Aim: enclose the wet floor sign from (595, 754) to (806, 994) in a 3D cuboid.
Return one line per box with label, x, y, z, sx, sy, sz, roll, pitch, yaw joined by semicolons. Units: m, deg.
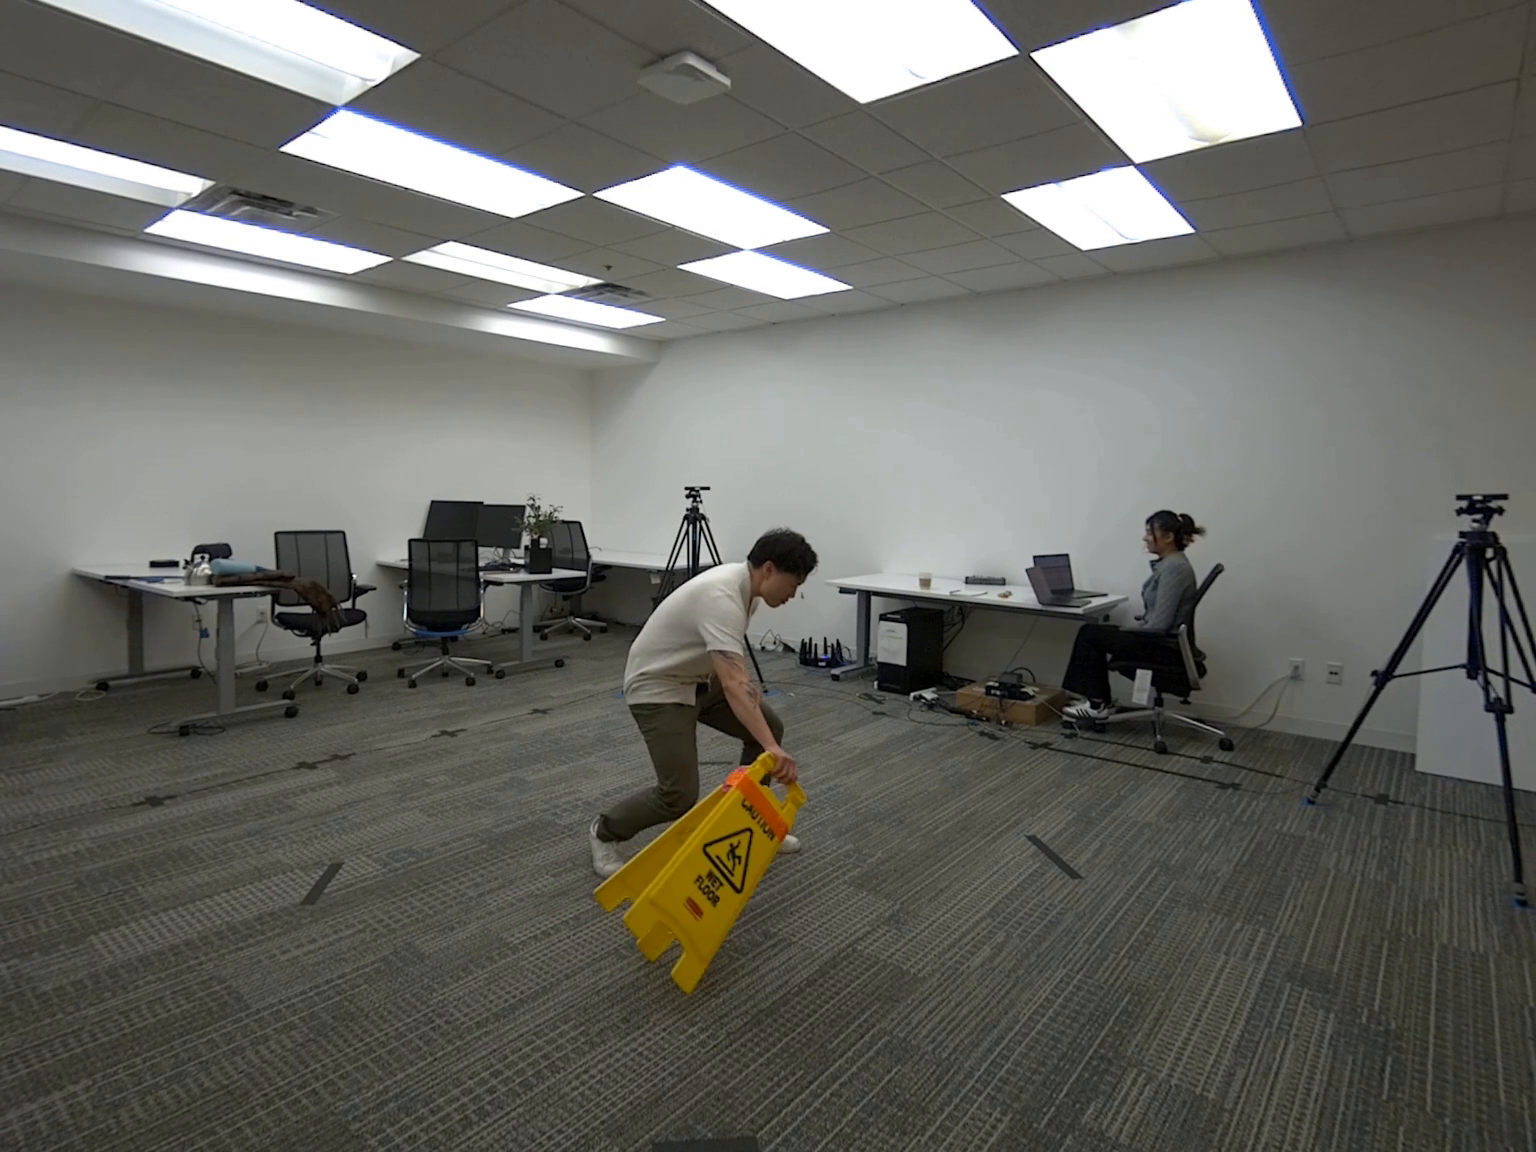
wet floor sign;-0.160;0.807;2.488;0.644;0.278;0.295;-44;12;-25
